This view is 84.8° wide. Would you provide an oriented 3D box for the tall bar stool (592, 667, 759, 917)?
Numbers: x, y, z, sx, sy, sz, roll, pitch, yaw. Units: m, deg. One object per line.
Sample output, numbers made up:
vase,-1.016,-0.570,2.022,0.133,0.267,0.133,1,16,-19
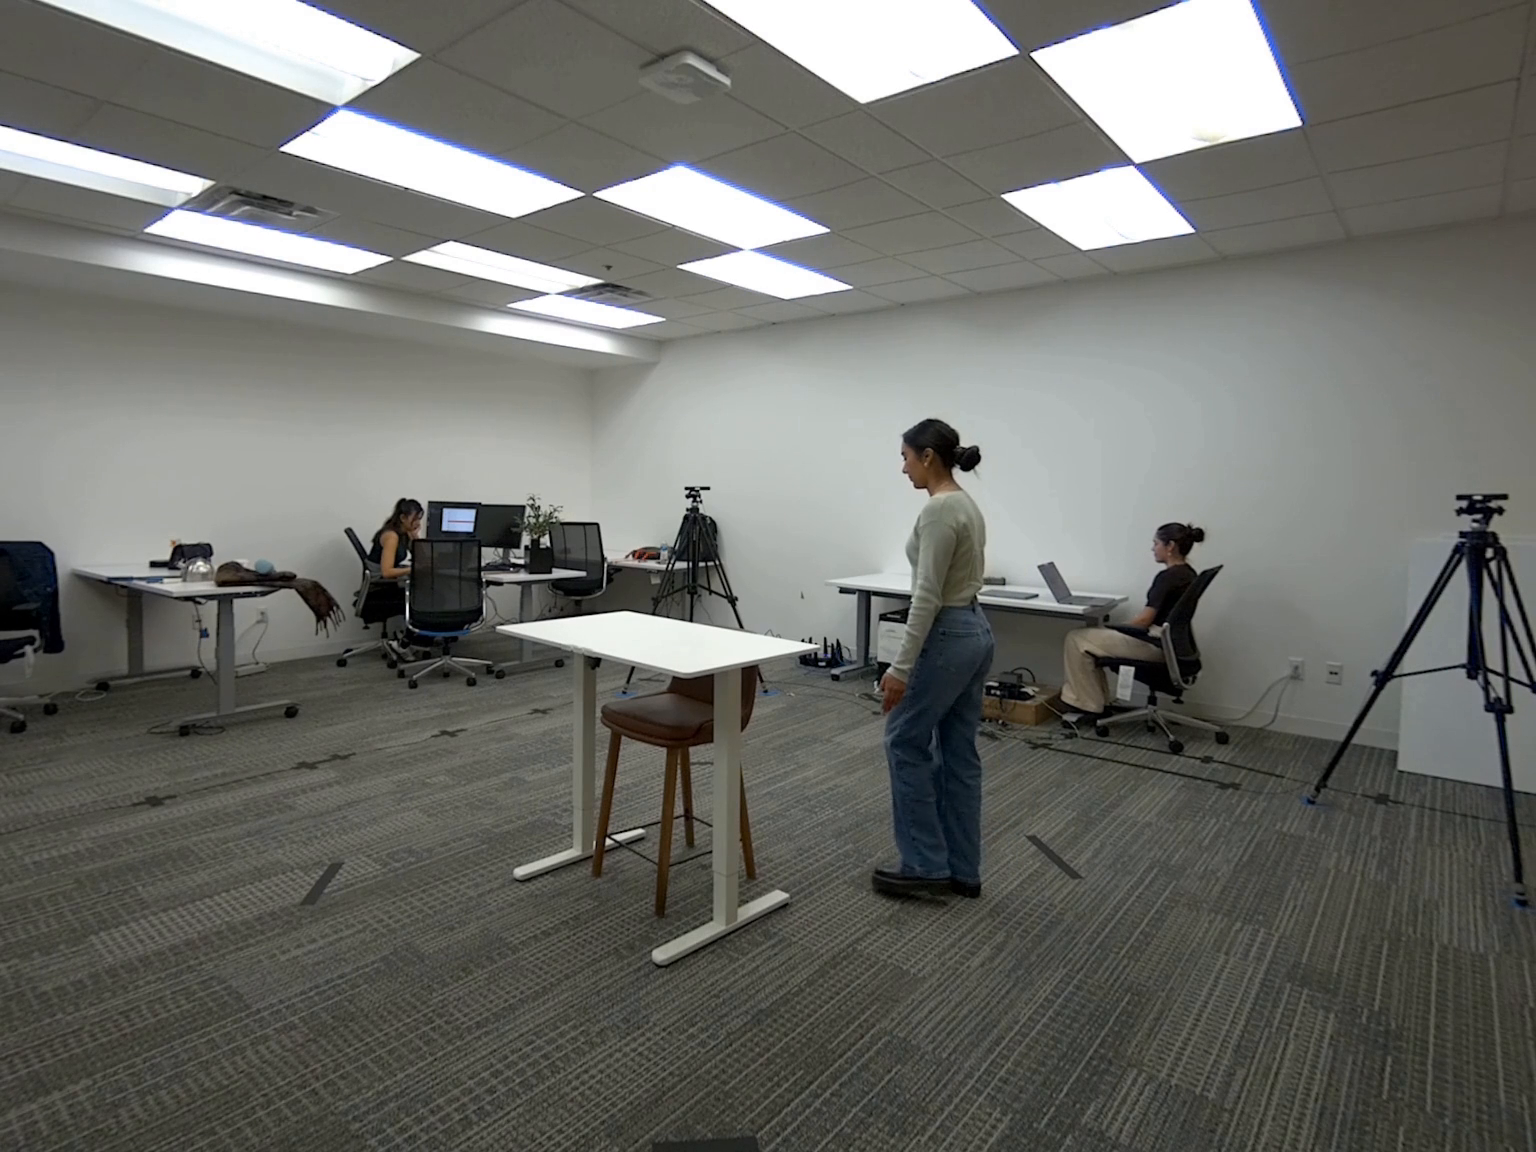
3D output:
tall bar stool,-0.323,0.640,3.016,0.452,0.889,0.472,1,1,-43
